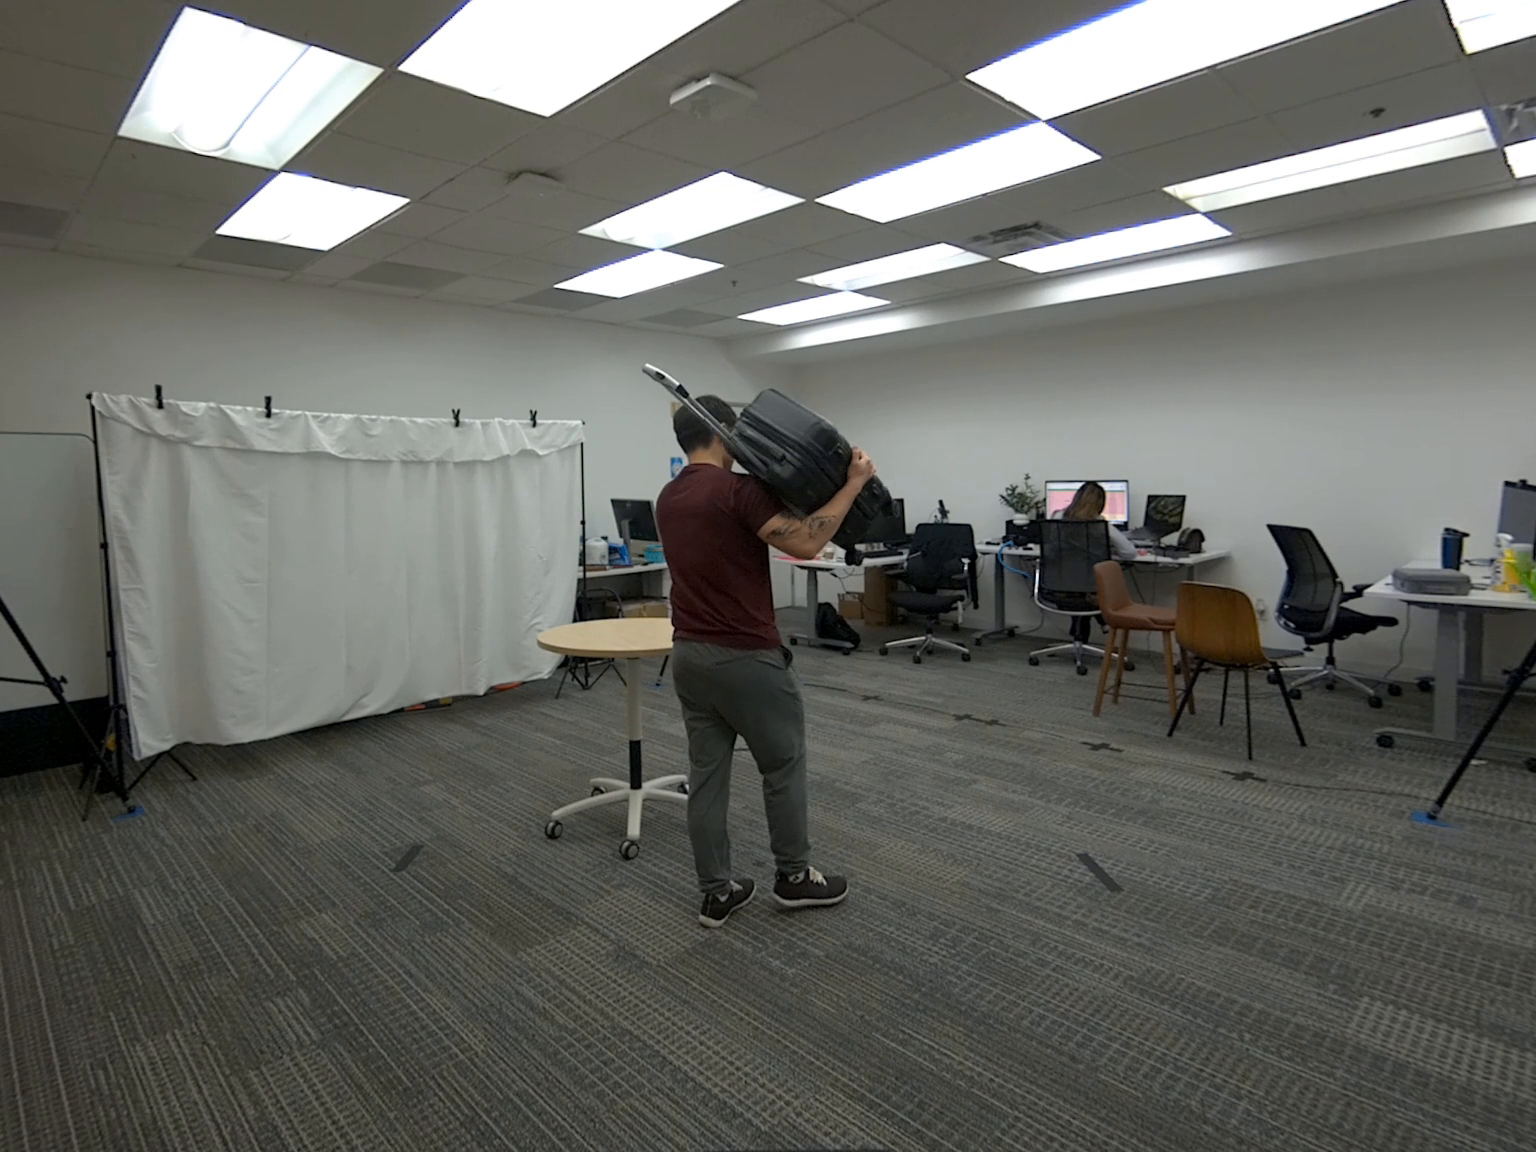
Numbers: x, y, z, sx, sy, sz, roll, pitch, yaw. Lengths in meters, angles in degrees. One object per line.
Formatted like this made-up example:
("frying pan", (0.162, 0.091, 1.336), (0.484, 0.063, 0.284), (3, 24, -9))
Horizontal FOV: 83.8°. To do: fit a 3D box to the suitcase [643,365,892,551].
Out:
("suitcase", (0.042, -0.409, 2.541), (0.399, 0.257, 0.940), (41, 0, 40))
